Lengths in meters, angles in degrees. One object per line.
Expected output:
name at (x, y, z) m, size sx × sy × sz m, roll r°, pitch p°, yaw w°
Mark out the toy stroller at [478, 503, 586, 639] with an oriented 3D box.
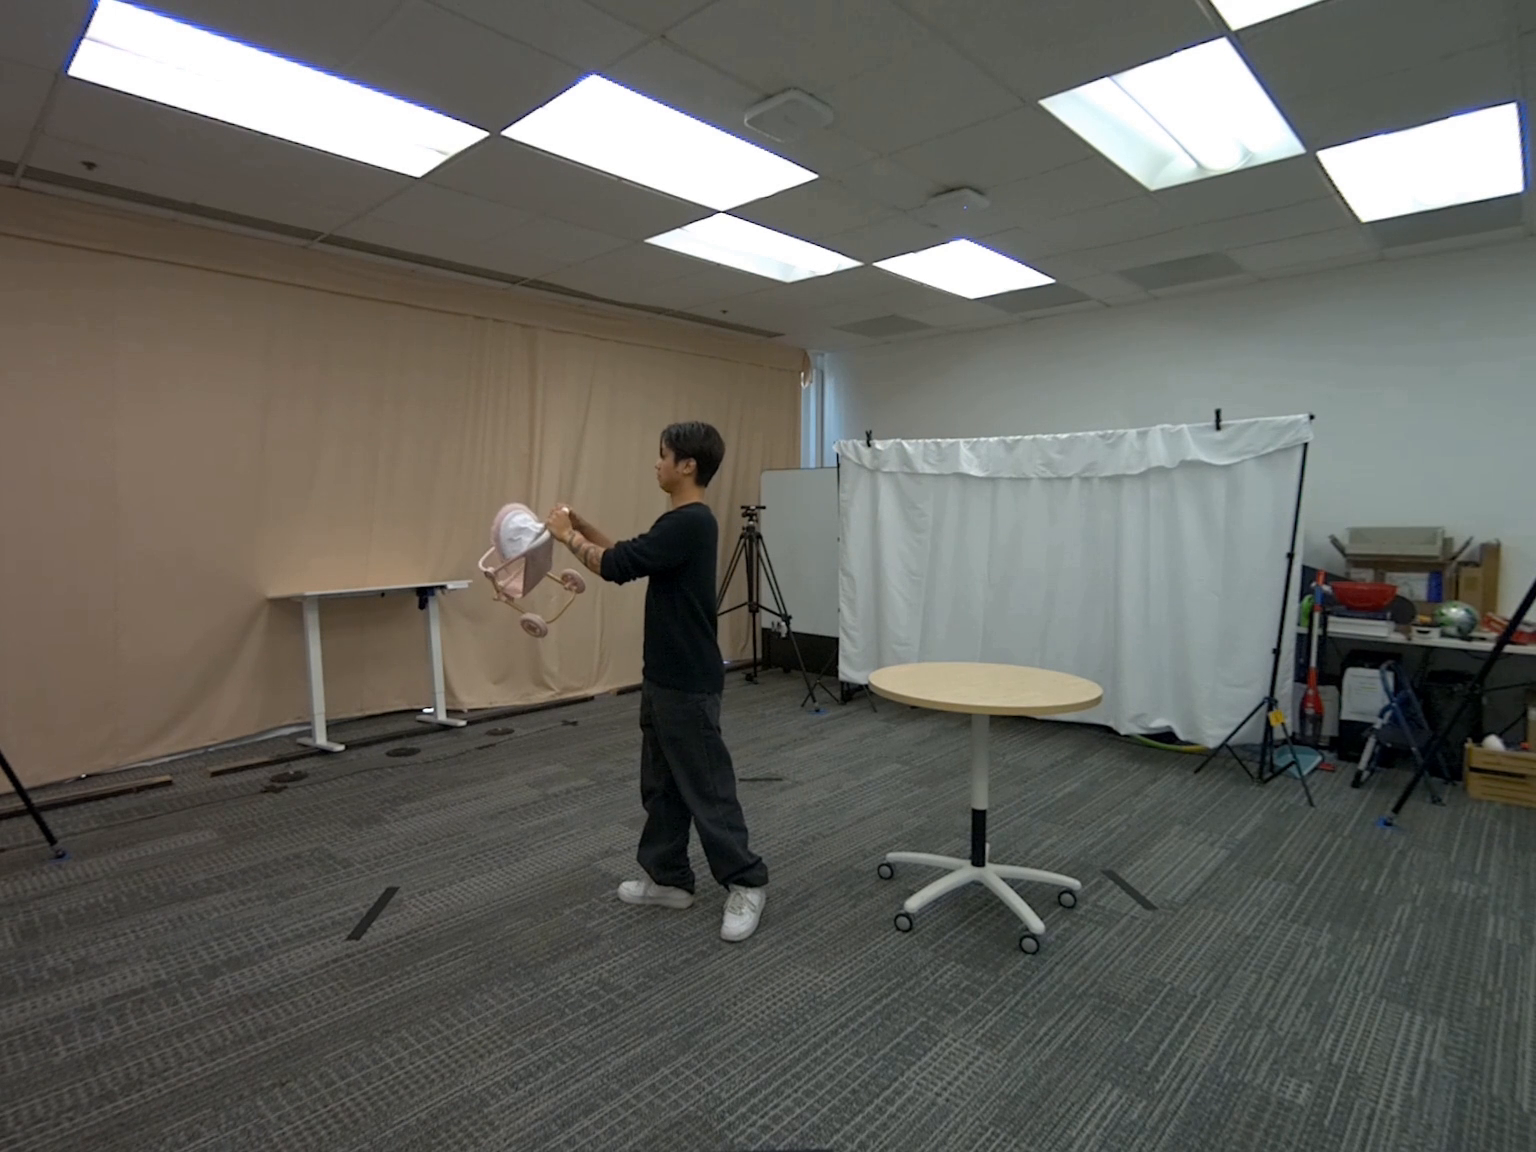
toy stroller at (-0.871, -0.045, 3.010) m, size 0.350 × 0.526 × 0.279 m, roll 24°, pitch 47°, yaw 20°
